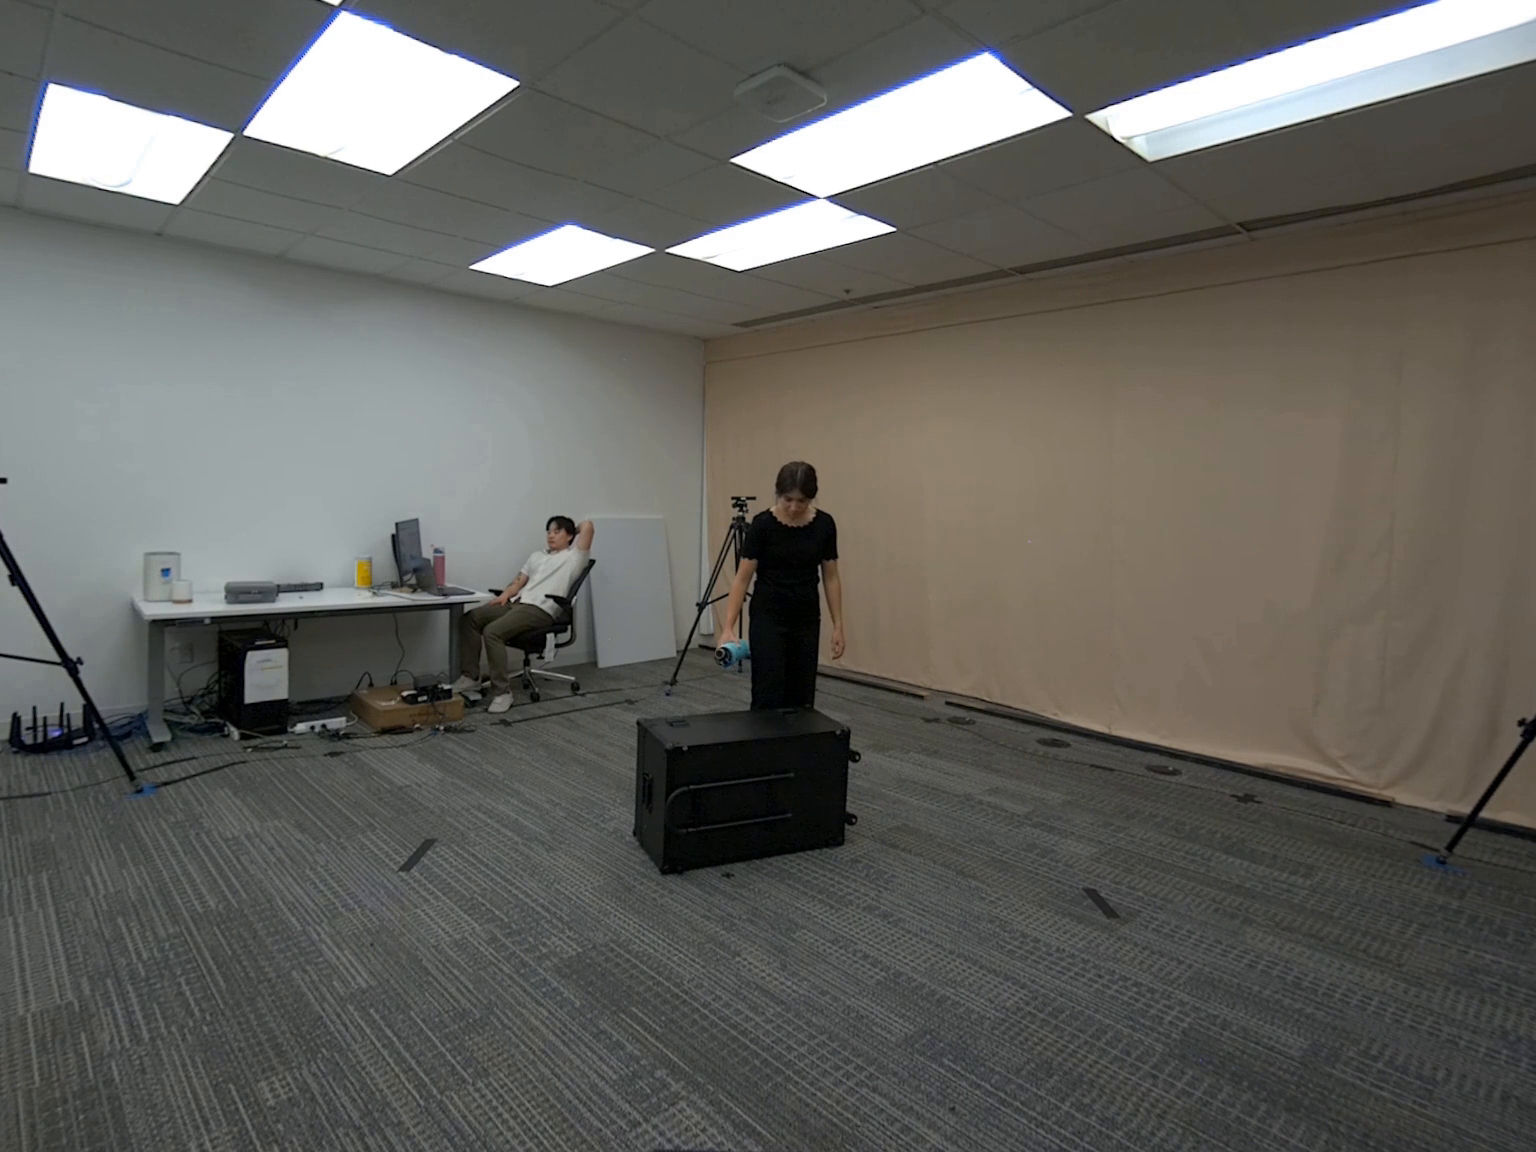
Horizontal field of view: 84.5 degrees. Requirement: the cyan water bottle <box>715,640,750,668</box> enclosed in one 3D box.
[{"bbox_3d":[-0.166,0.337,3.648,0.093,0.092,0.280,2,4,14],"label":"cyan water bottle"}]
